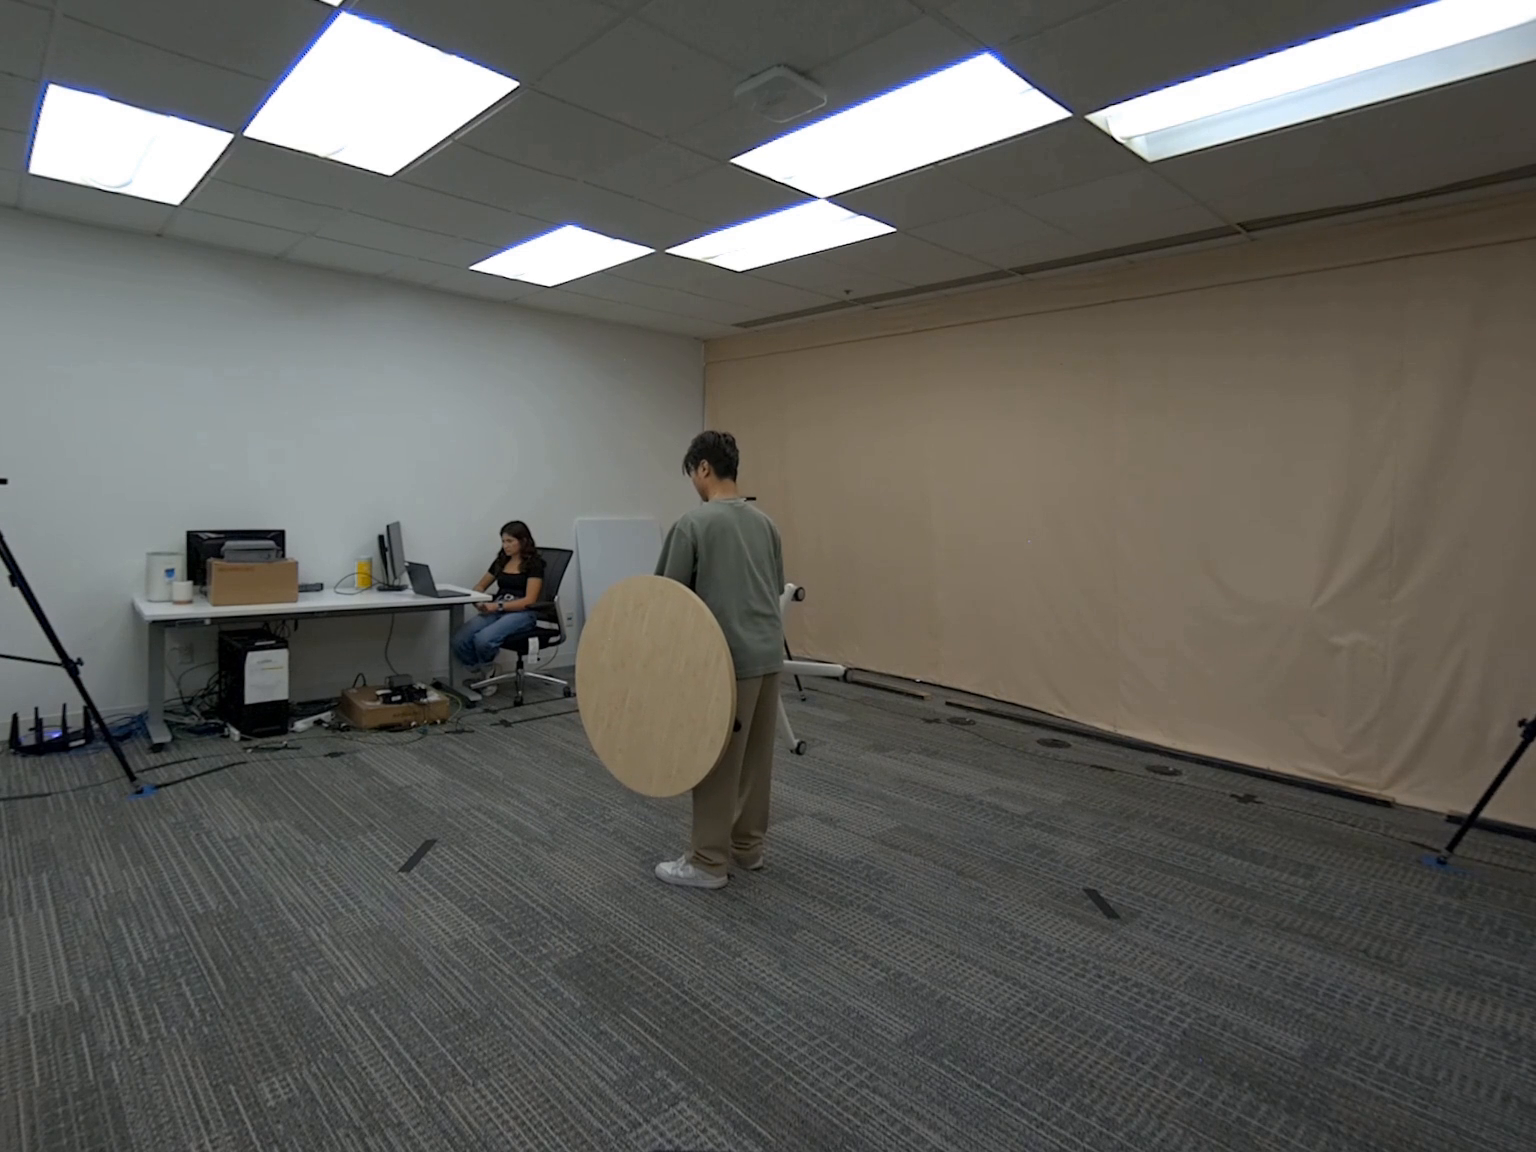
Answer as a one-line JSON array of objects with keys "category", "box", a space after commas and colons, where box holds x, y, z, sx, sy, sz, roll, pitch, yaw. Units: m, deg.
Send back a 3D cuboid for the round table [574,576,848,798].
[{"category": "round table", "box": [-0.194, 0.379, 3.245, 0.804, 0.784, 0.768, 5, 2, 38]}]
